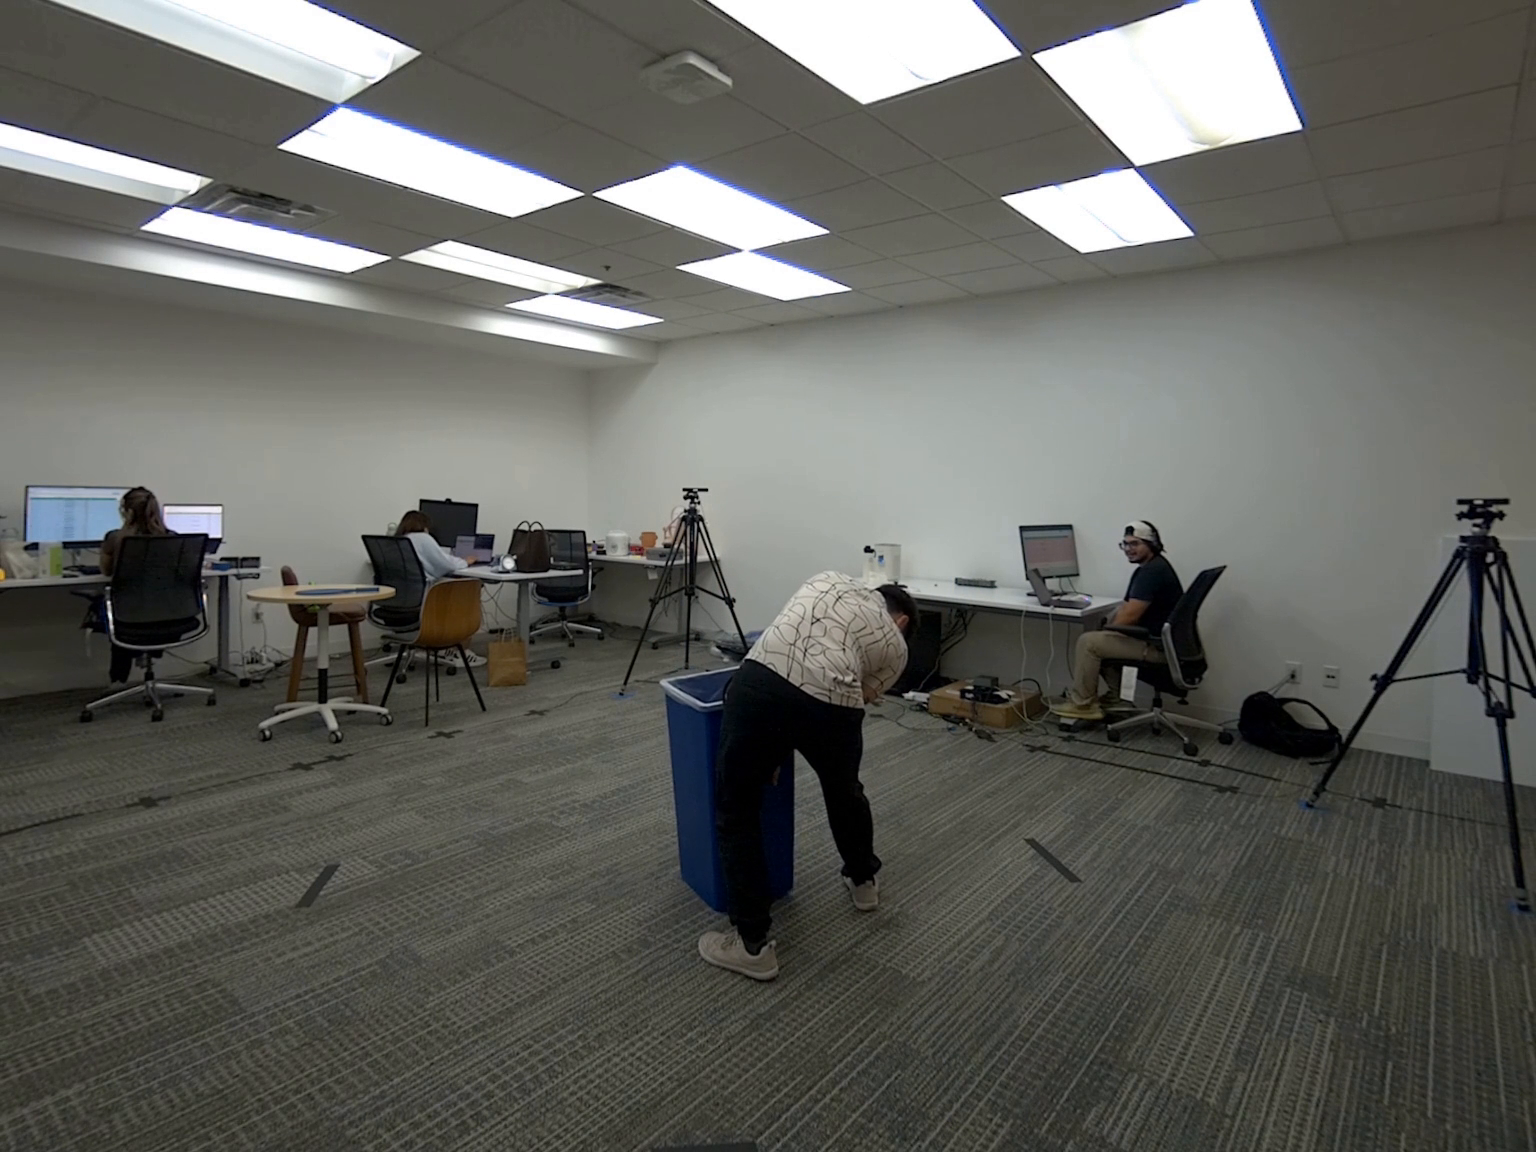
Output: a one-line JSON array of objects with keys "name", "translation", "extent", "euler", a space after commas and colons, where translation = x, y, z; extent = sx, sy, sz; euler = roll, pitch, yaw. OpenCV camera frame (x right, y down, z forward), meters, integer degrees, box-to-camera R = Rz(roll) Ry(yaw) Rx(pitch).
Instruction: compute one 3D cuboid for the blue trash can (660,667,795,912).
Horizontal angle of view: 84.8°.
[{"name": "blue trash can", "translation": [-0.143, 0.719, 2.953], "extent": [0.369, 0.709, 0.385], "euler": [-6, 7, -29]}]
